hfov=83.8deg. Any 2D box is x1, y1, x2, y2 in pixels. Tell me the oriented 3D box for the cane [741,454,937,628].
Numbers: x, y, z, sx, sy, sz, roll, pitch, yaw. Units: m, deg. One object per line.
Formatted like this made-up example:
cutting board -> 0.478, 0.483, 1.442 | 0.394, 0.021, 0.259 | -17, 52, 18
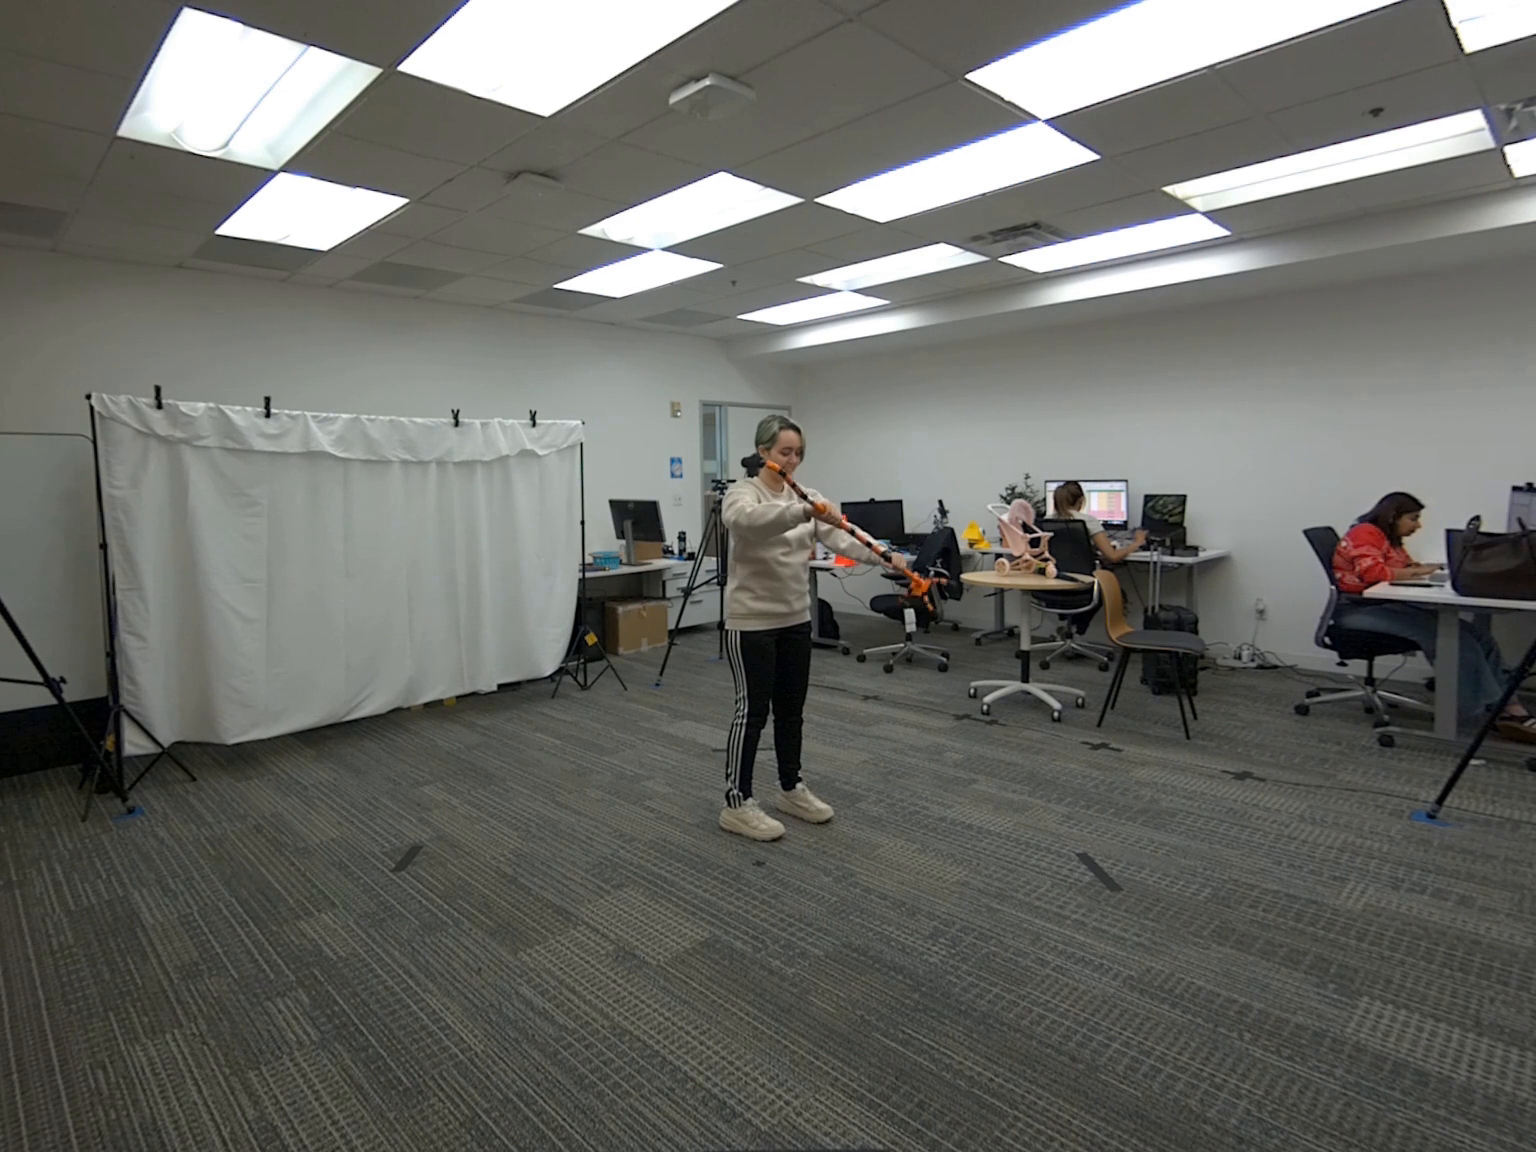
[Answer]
cane -> 0.275, -0.142, 2.978 | 0.879, 0.152, 0.212 | 34, -10, -28
